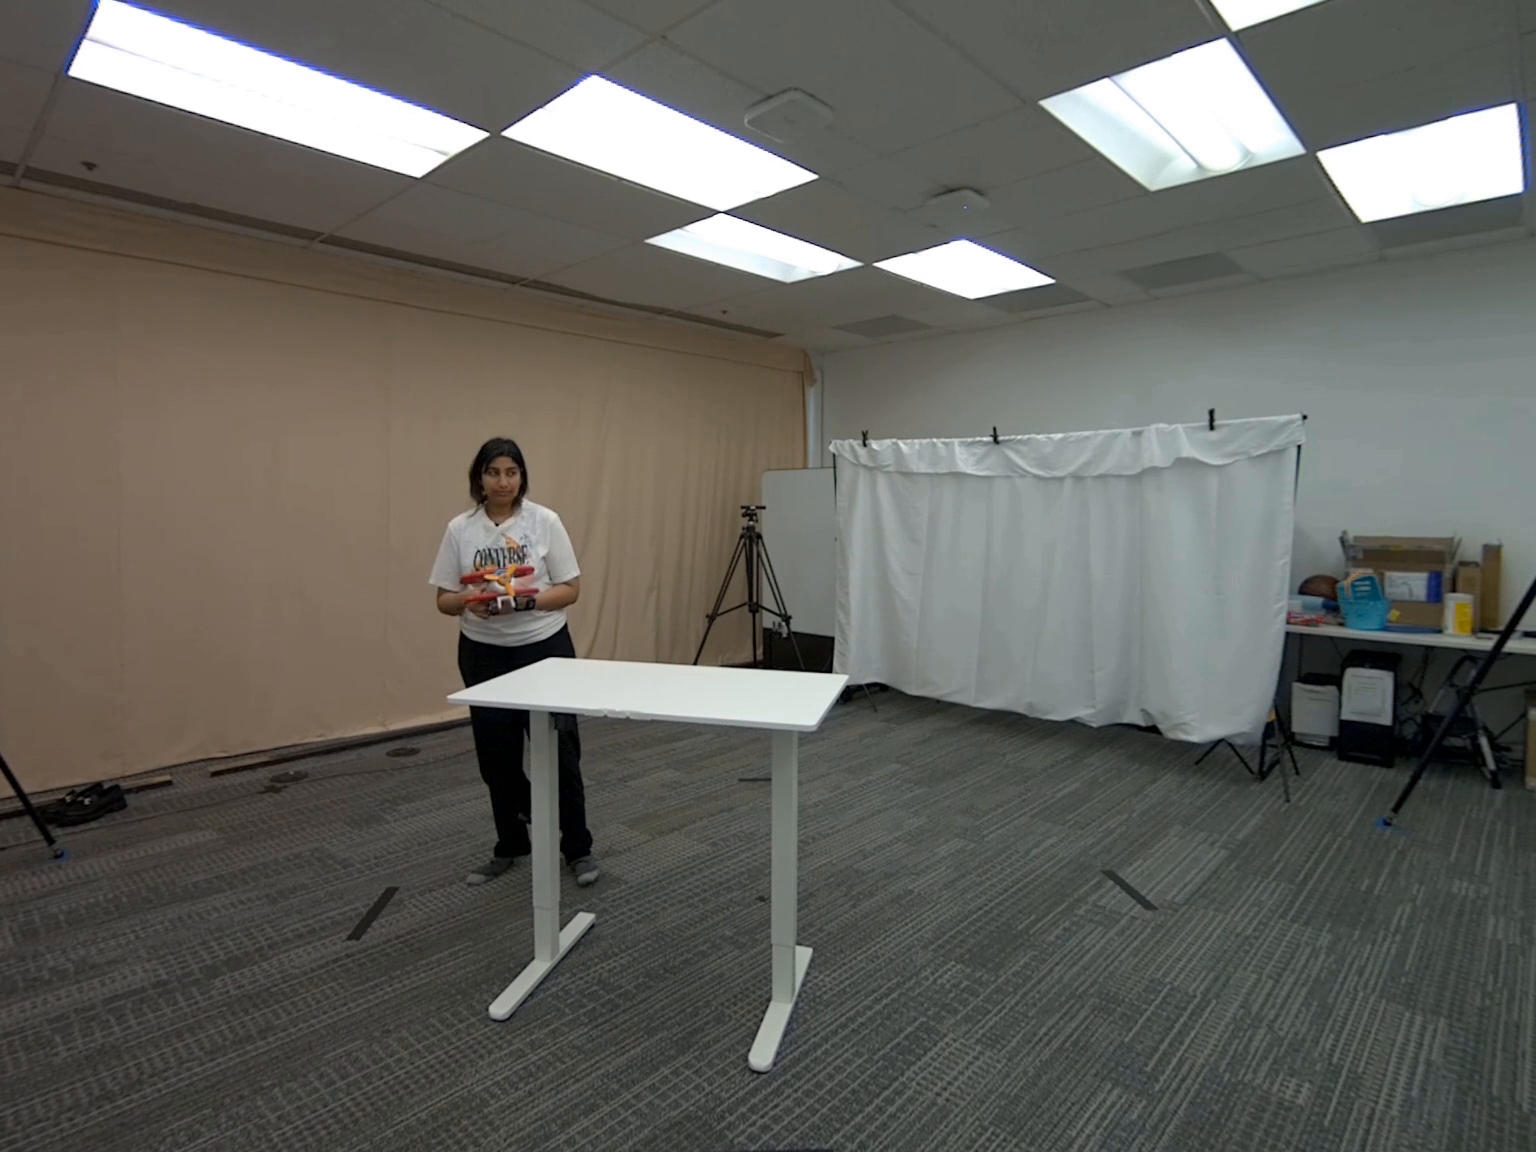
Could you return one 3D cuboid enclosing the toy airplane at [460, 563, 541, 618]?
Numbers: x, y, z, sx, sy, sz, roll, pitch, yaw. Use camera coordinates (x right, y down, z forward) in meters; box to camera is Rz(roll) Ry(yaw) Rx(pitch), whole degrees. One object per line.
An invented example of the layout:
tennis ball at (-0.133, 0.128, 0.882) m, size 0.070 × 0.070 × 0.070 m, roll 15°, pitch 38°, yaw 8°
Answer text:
toy airplane at (-0.932, 0.058, 2.898) m, size 0.266 × 0.156 × 0.244 m, roll -10°, pitch 0°, yaw 36°
